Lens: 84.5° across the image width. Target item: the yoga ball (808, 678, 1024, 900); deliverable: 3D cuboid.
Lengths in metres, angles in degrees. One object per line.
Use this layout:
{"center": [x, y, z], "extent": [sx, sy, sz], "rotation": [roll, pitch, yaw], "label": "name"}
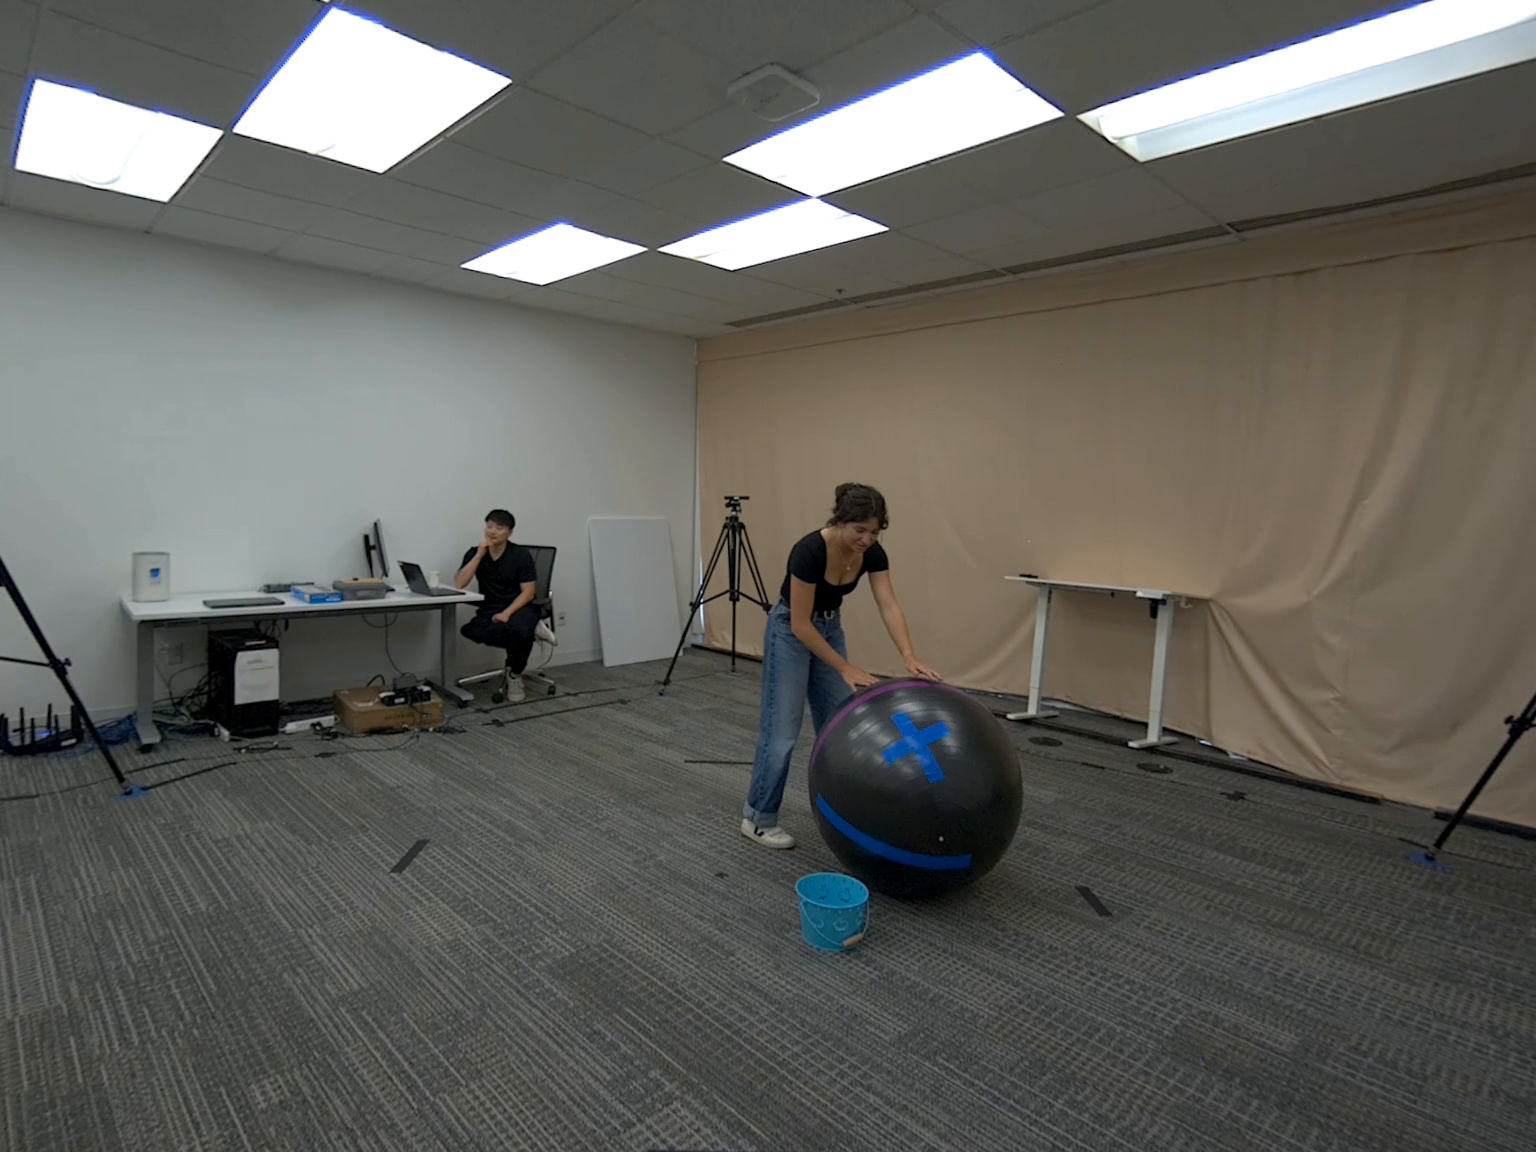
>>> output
{"center": [0.523, 0.755, 3.033], "extent": [0.757, 0.756, 0.761], "rotation": [1, 4, -1], "label": "yoga ball"}
